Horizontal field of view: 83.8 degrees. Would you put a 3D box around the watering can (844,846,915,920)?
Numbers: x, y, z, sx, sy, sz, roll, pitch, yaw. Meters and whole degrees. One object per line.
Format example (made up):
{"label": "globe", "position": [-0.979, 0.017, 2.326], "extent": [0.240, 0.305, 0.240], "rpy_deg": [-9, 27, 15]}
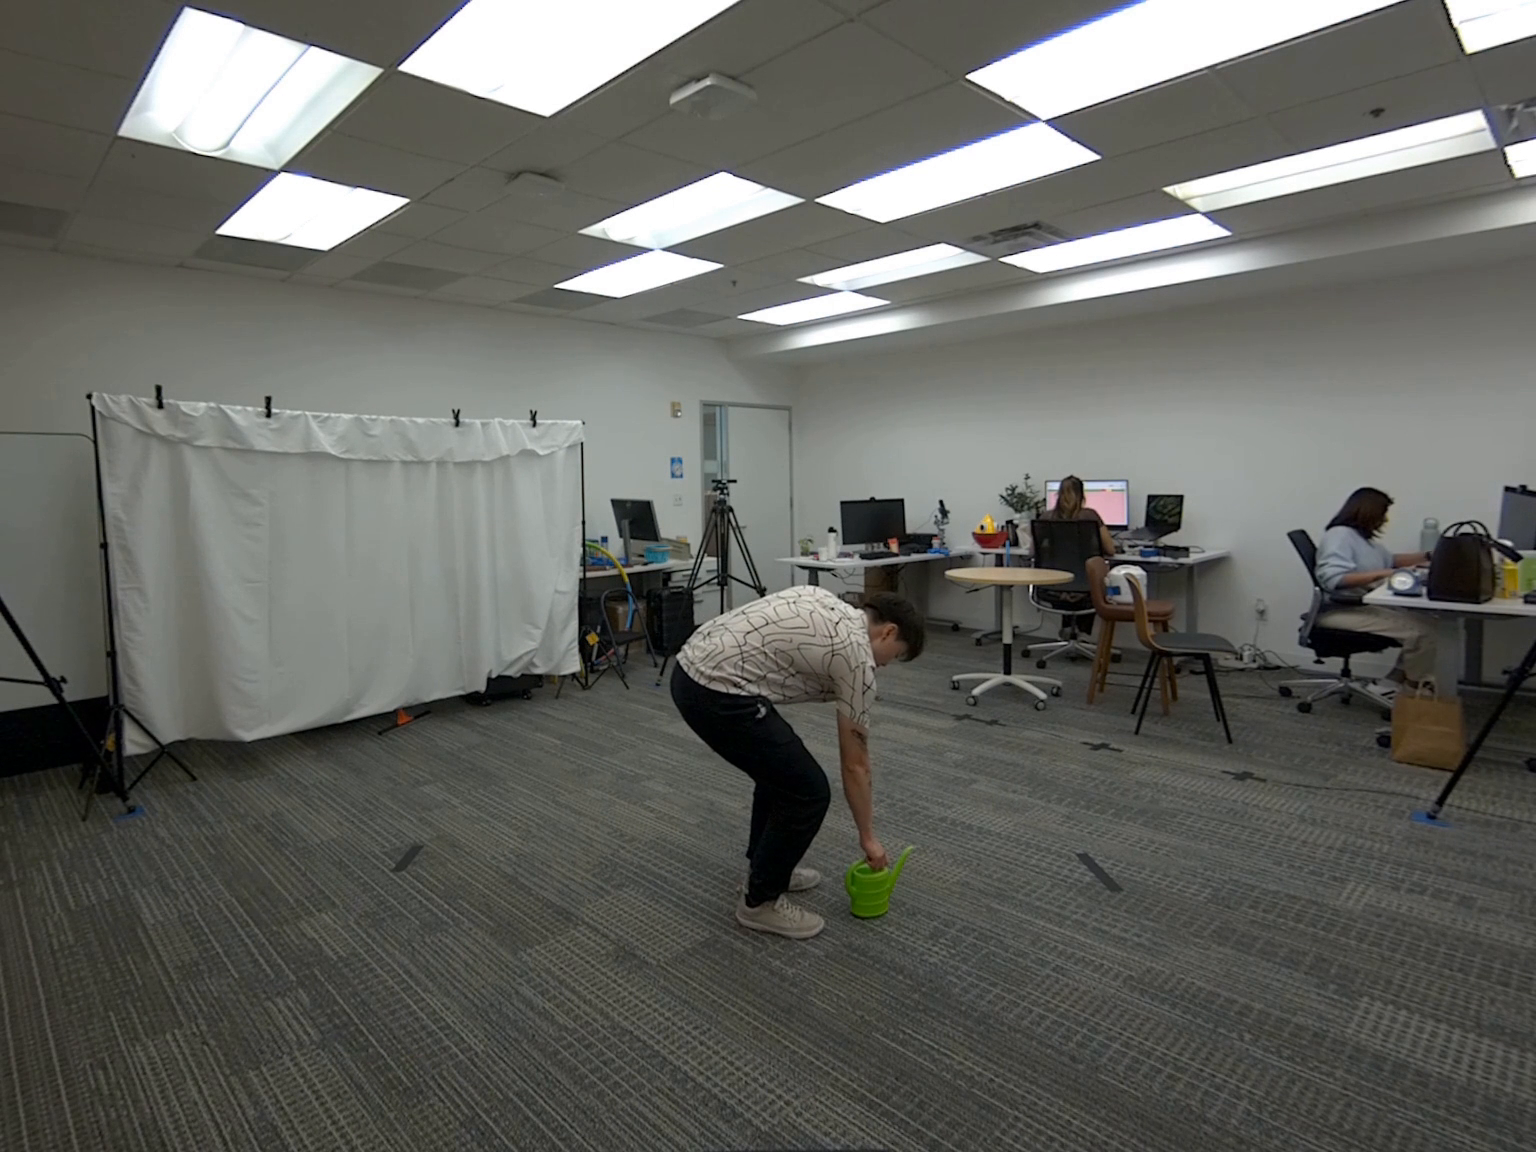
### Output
{"label": "watering can", "position": [0.362, 0.983, 2.755], "extent": [0.276, 0.176, 0.099], "rpy_deg": [0, 2, -10]}
